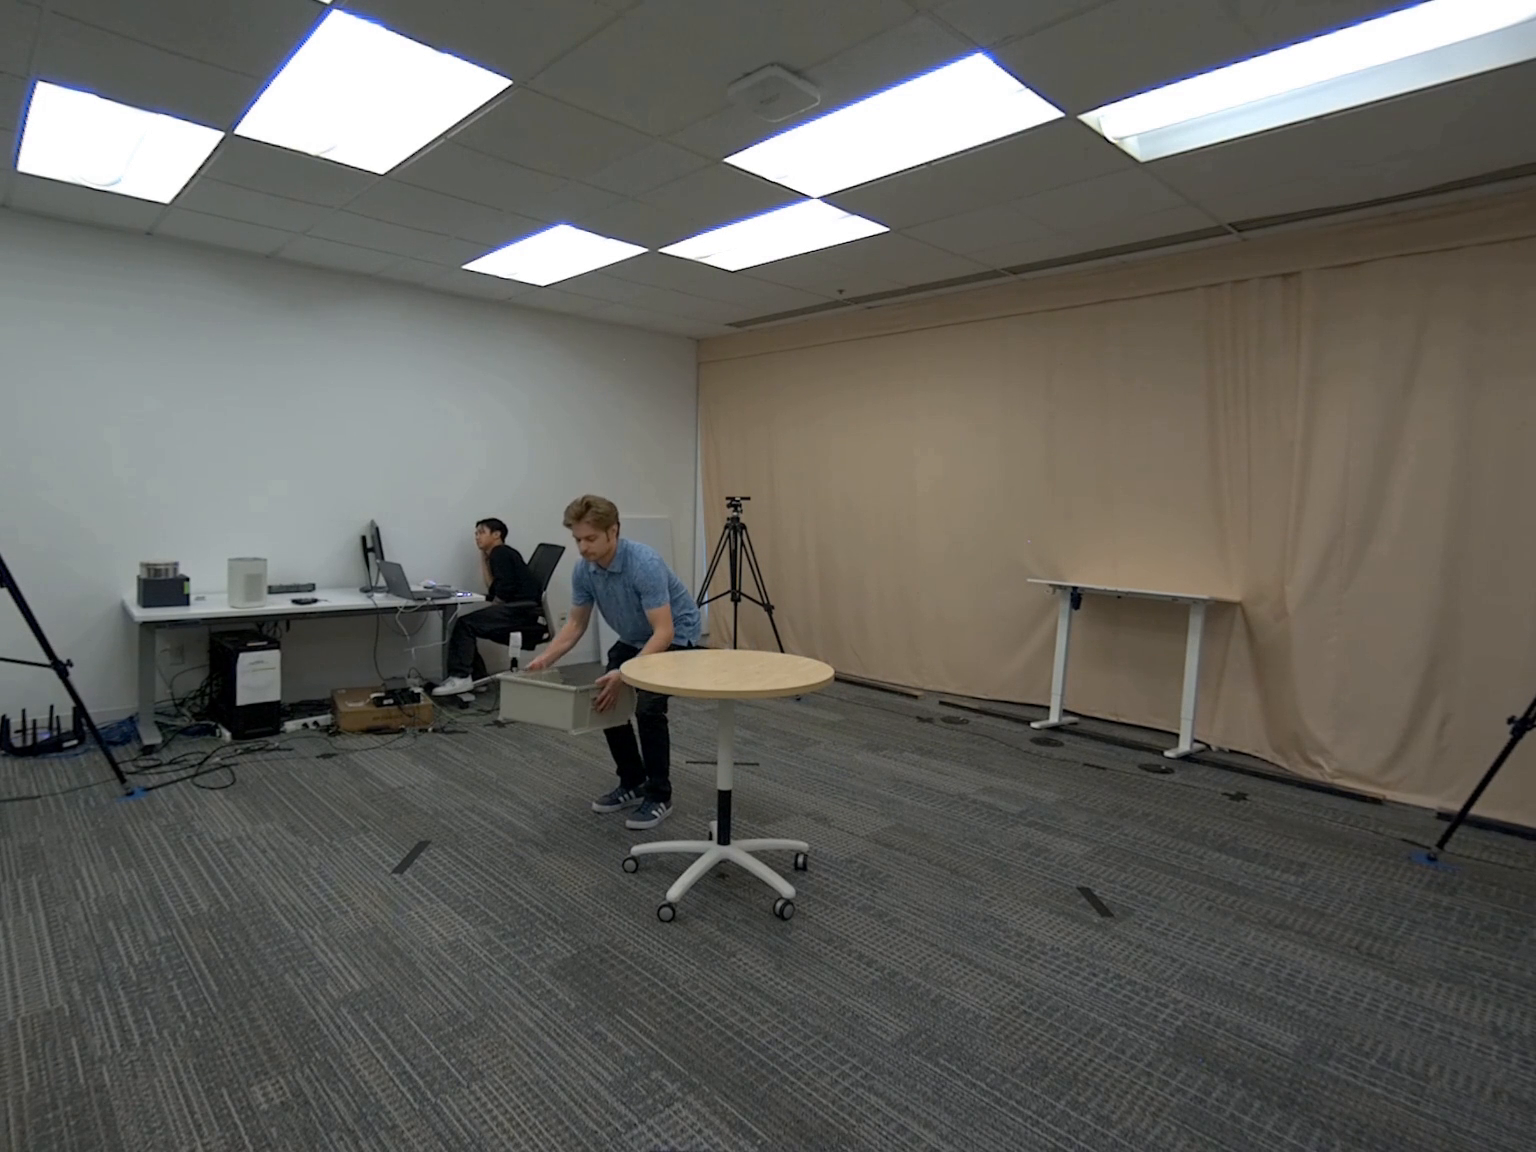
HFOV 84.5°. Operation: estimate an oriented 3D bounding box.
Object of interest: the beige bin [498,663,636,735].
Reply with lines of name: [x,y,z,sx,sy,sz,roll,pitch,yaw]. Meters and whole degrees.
beige bin: [-0.812,0.490,3.366,0.432,0.188,0.369,6,4,32]
